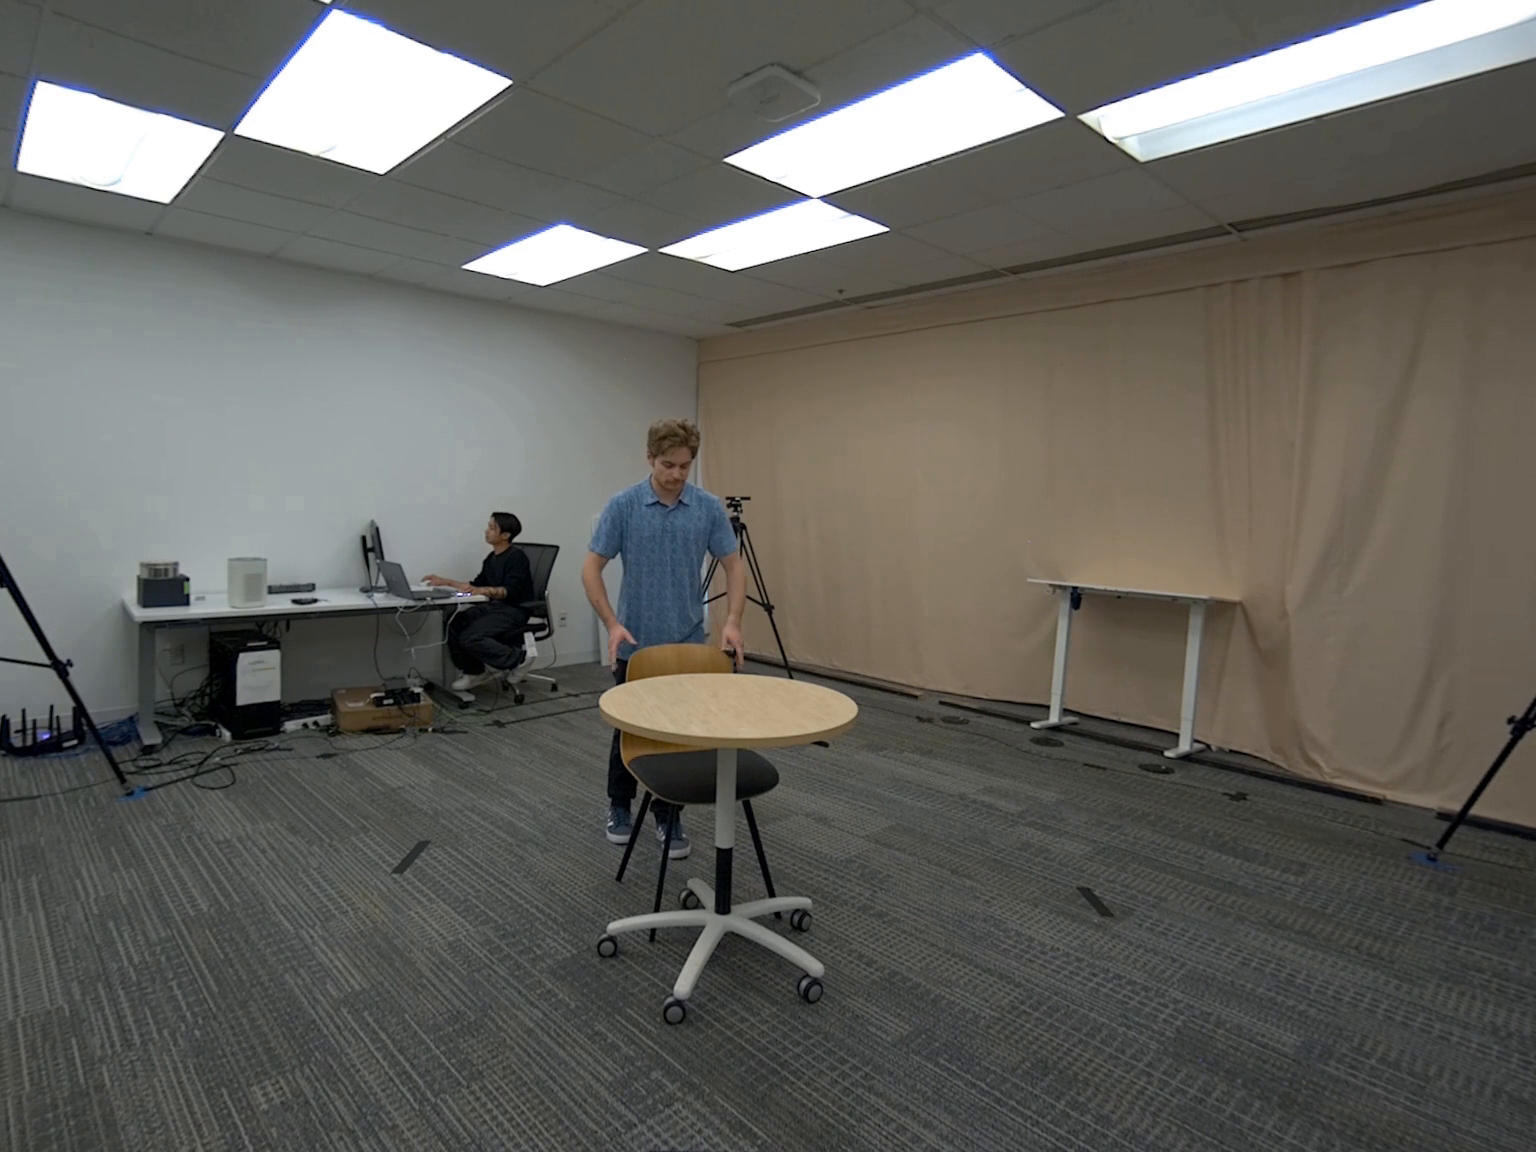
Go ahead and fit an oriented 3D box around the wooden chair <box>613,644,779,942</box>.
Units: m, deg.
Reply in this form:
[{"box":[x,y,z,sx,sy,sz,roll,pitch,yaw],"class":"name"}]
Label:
[{"box":[-0.247,0.696,2.879,0.470,0.877,0.532,0,0,-23],"class":"wooden chair"}]
